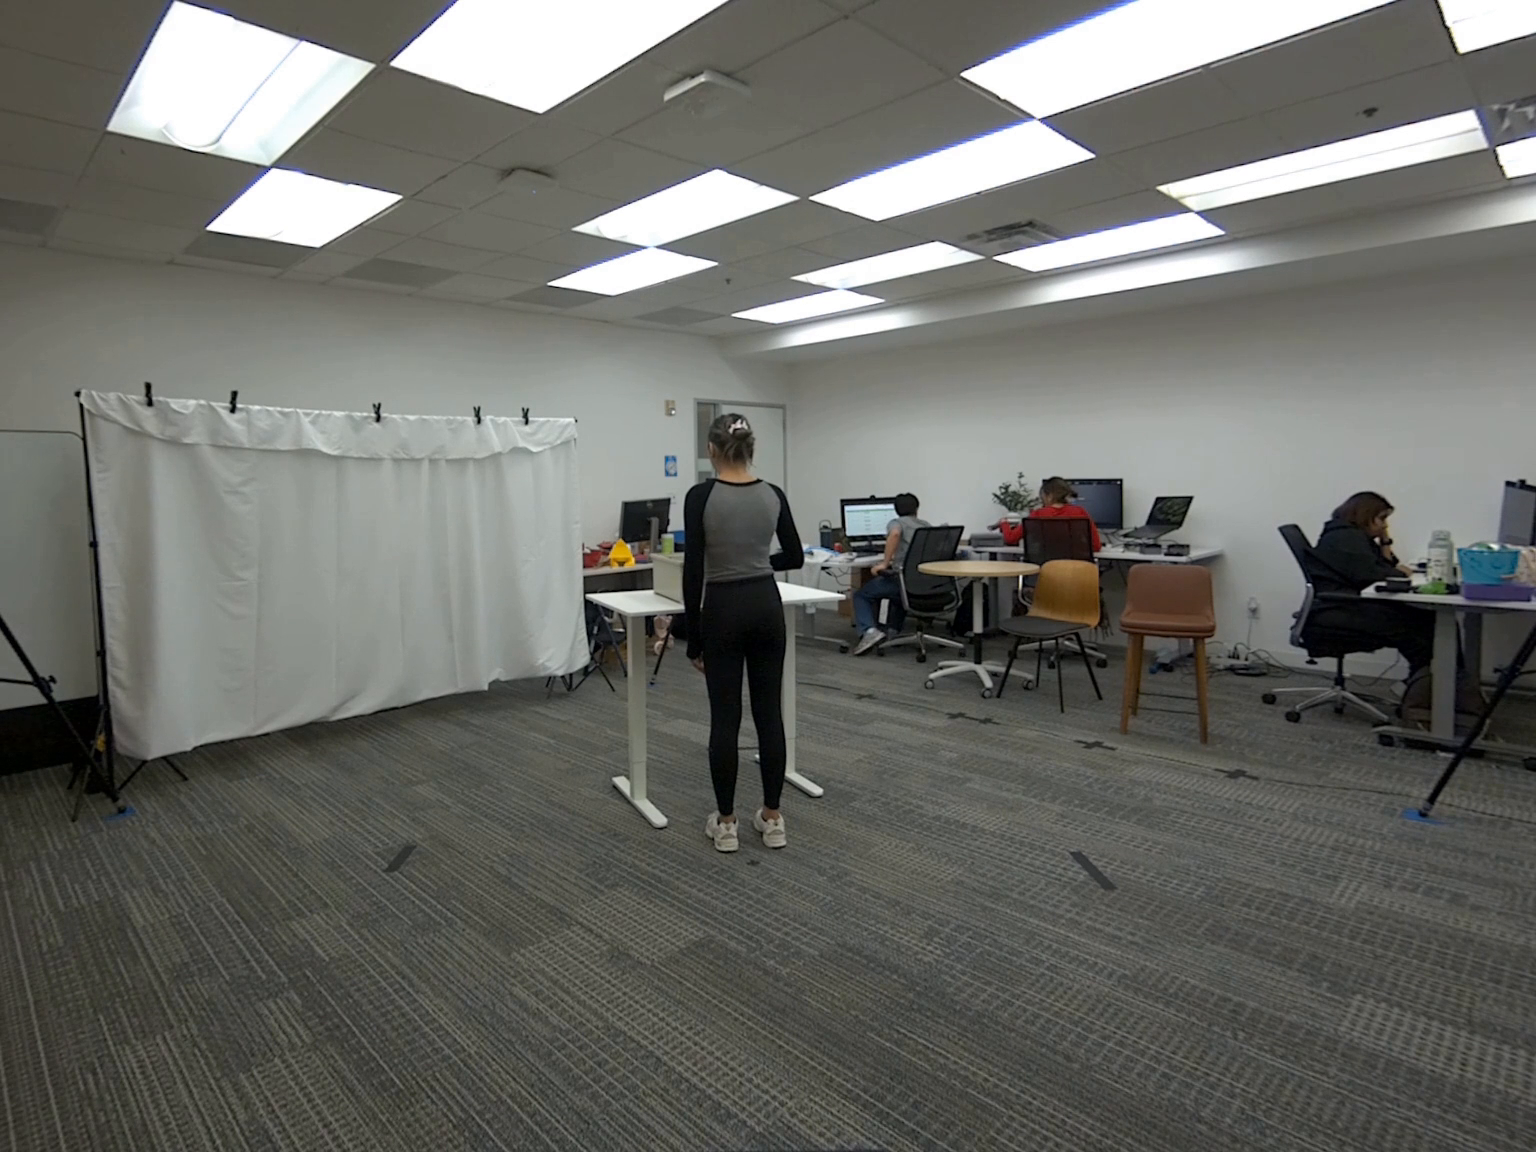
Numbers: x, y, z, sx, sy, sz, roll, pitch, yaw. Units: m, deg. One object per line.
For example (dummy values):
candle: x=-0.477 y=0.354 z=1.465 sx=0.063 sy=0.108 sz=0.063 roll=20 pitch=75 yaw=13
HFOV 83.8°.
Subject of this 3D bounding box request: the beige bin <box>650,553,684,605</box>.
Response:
beige bin: x=-0.265 y=0.007 z=3.739 sx=0.370 sy=0.188 sz=0.433 roll=-4 pitch=8 yaw=-24
